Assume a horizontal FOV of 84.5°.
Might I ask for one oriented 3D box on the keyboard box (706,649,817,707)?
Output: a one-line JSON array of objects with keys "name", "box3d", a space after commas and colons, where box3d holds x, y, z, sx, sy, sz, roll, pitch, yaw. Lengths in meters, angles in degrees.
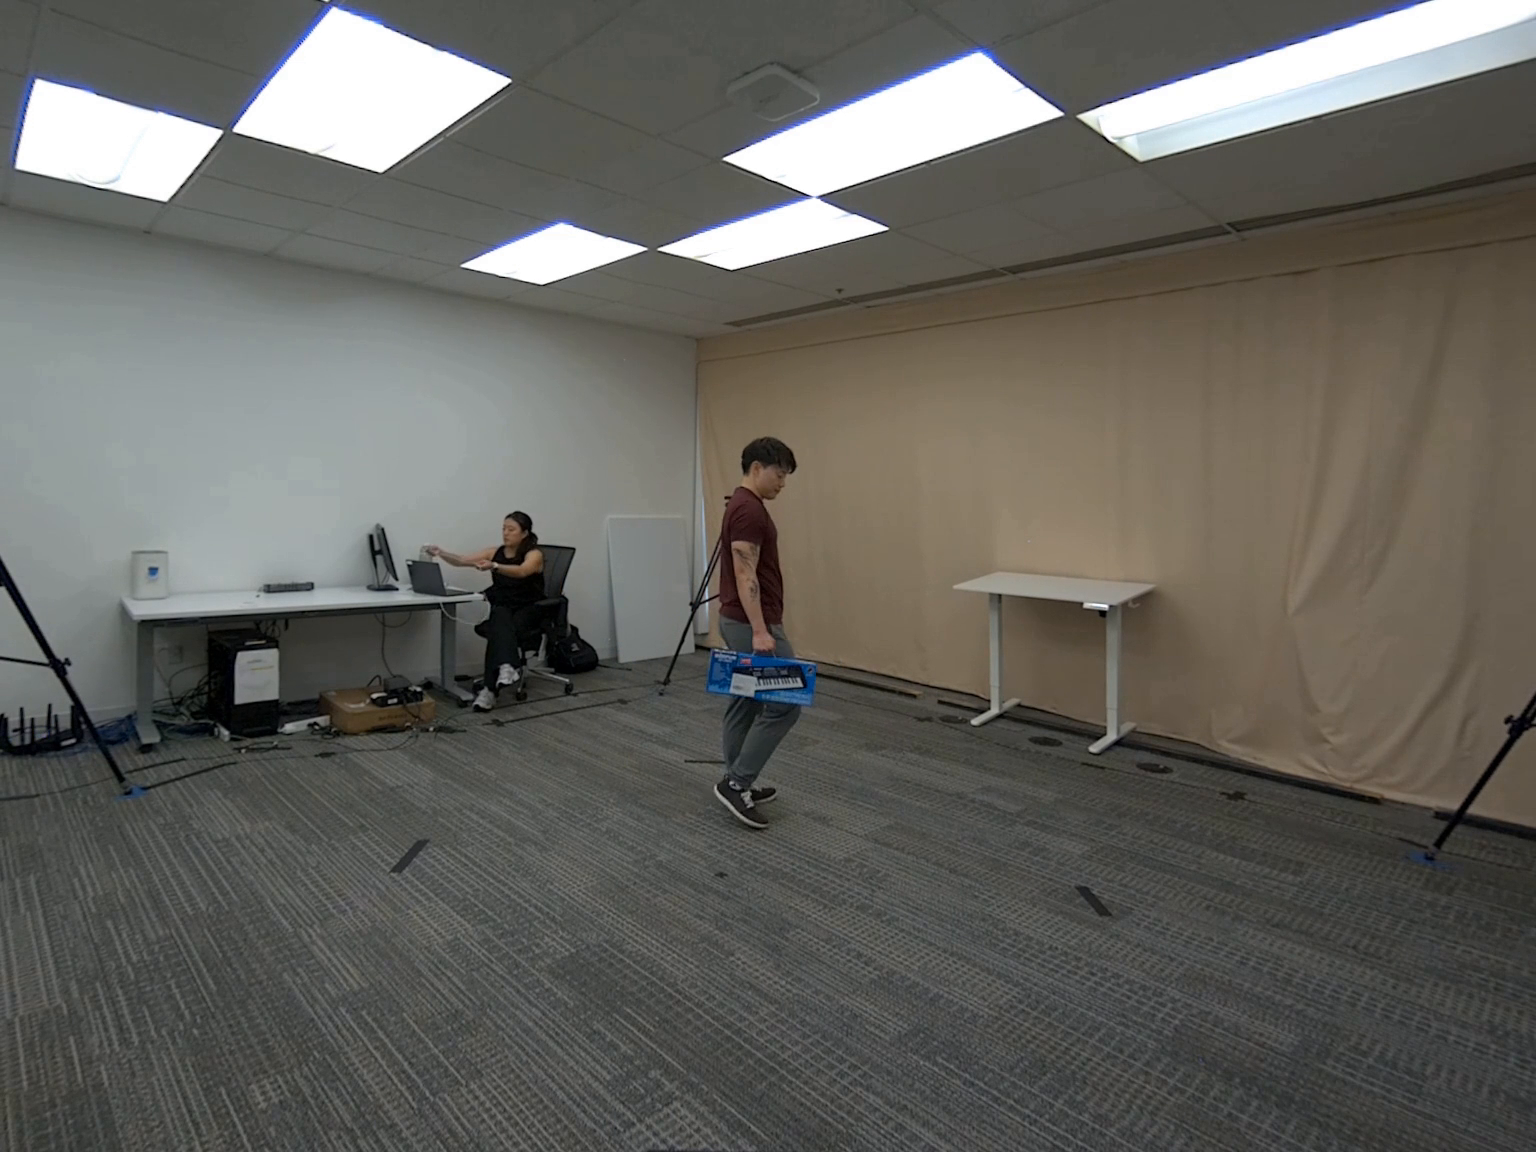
[{"name": "keyboard box", "box3d": [-0.036, 0.417, 3.482, 0.435, 0.176, 0.059, 8, 1, -4]}]
